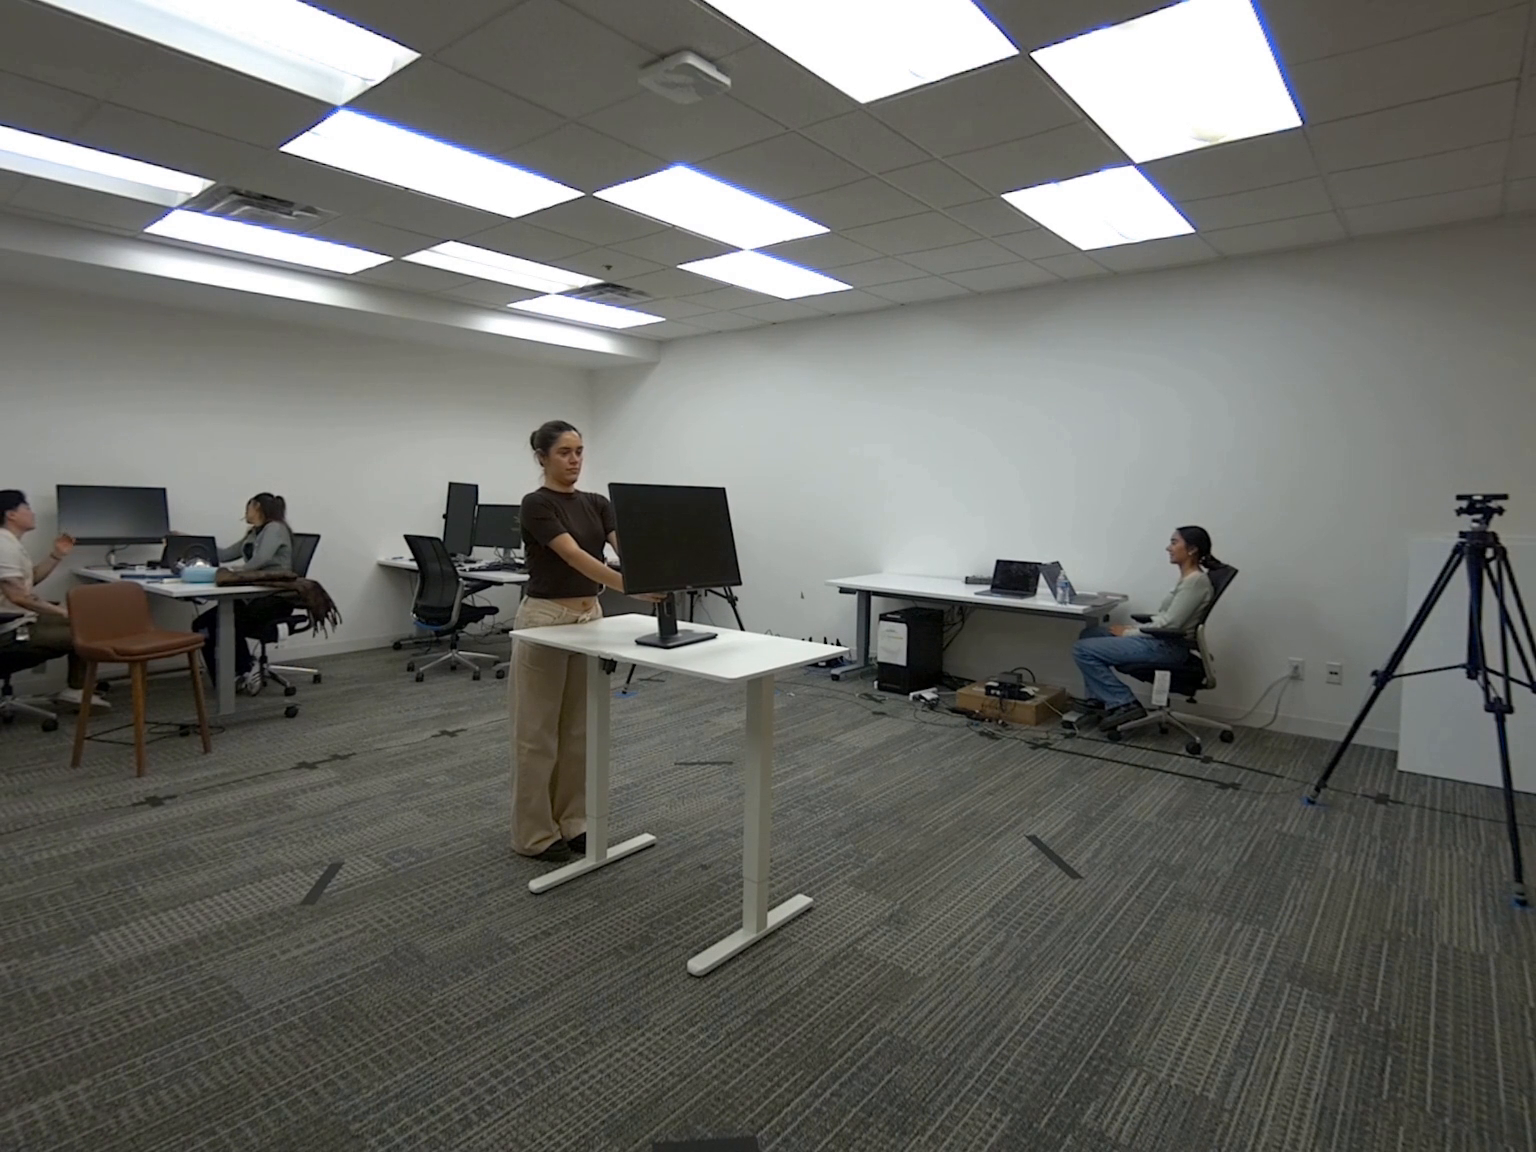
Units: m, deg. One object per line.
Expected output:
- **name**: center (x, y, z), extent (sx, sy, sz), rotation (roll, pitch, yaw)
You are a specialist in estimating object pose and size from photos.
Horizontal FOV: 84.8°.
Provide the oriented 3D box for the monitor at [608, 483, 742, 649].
- **monitor**: center (-0.322, -0.040, 2.815), extent (0.193, 0.521, 0.523), rotation (2, 3, 38)
